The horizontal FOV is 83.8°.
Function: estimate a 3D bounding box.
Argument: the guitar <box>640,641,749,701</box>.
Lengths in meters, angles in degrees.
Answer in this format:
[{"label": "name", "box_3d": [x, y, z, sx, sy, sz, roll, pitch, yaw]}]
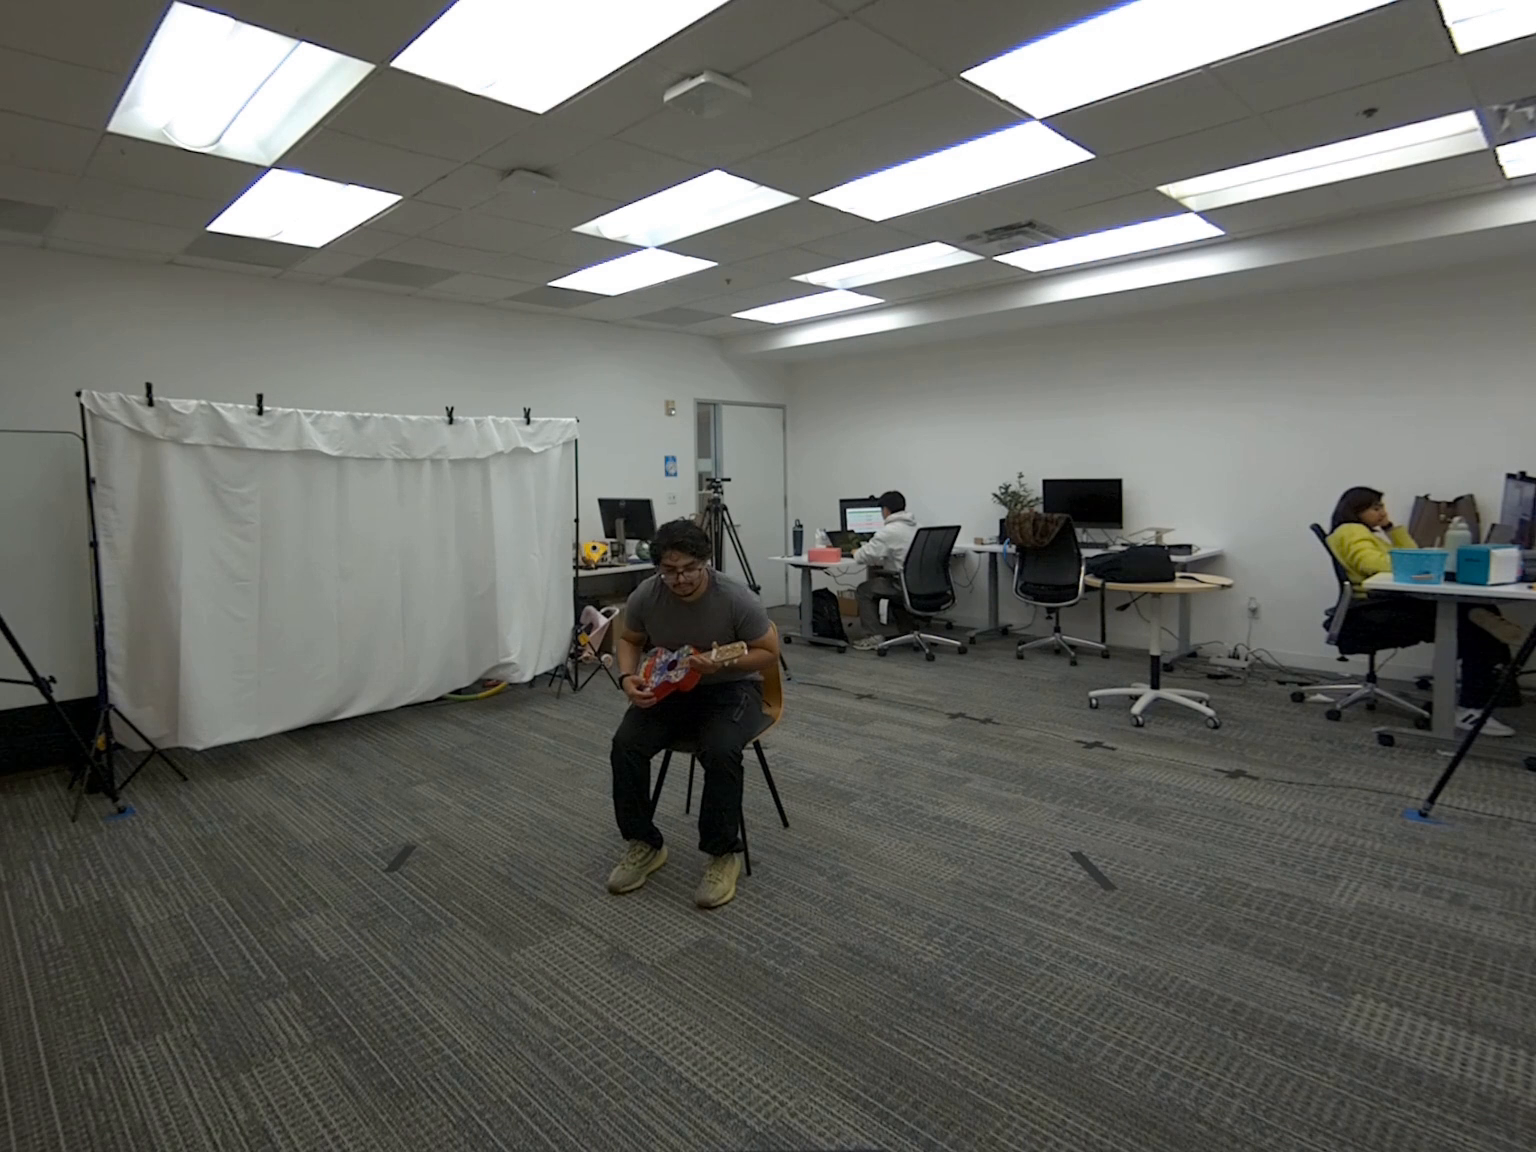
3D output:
[{"label": "guitar", "box_3d": [-0.266, 0.325, 2.856, 0.510, 0.195, 0.068, -9, -39, 45]}]
